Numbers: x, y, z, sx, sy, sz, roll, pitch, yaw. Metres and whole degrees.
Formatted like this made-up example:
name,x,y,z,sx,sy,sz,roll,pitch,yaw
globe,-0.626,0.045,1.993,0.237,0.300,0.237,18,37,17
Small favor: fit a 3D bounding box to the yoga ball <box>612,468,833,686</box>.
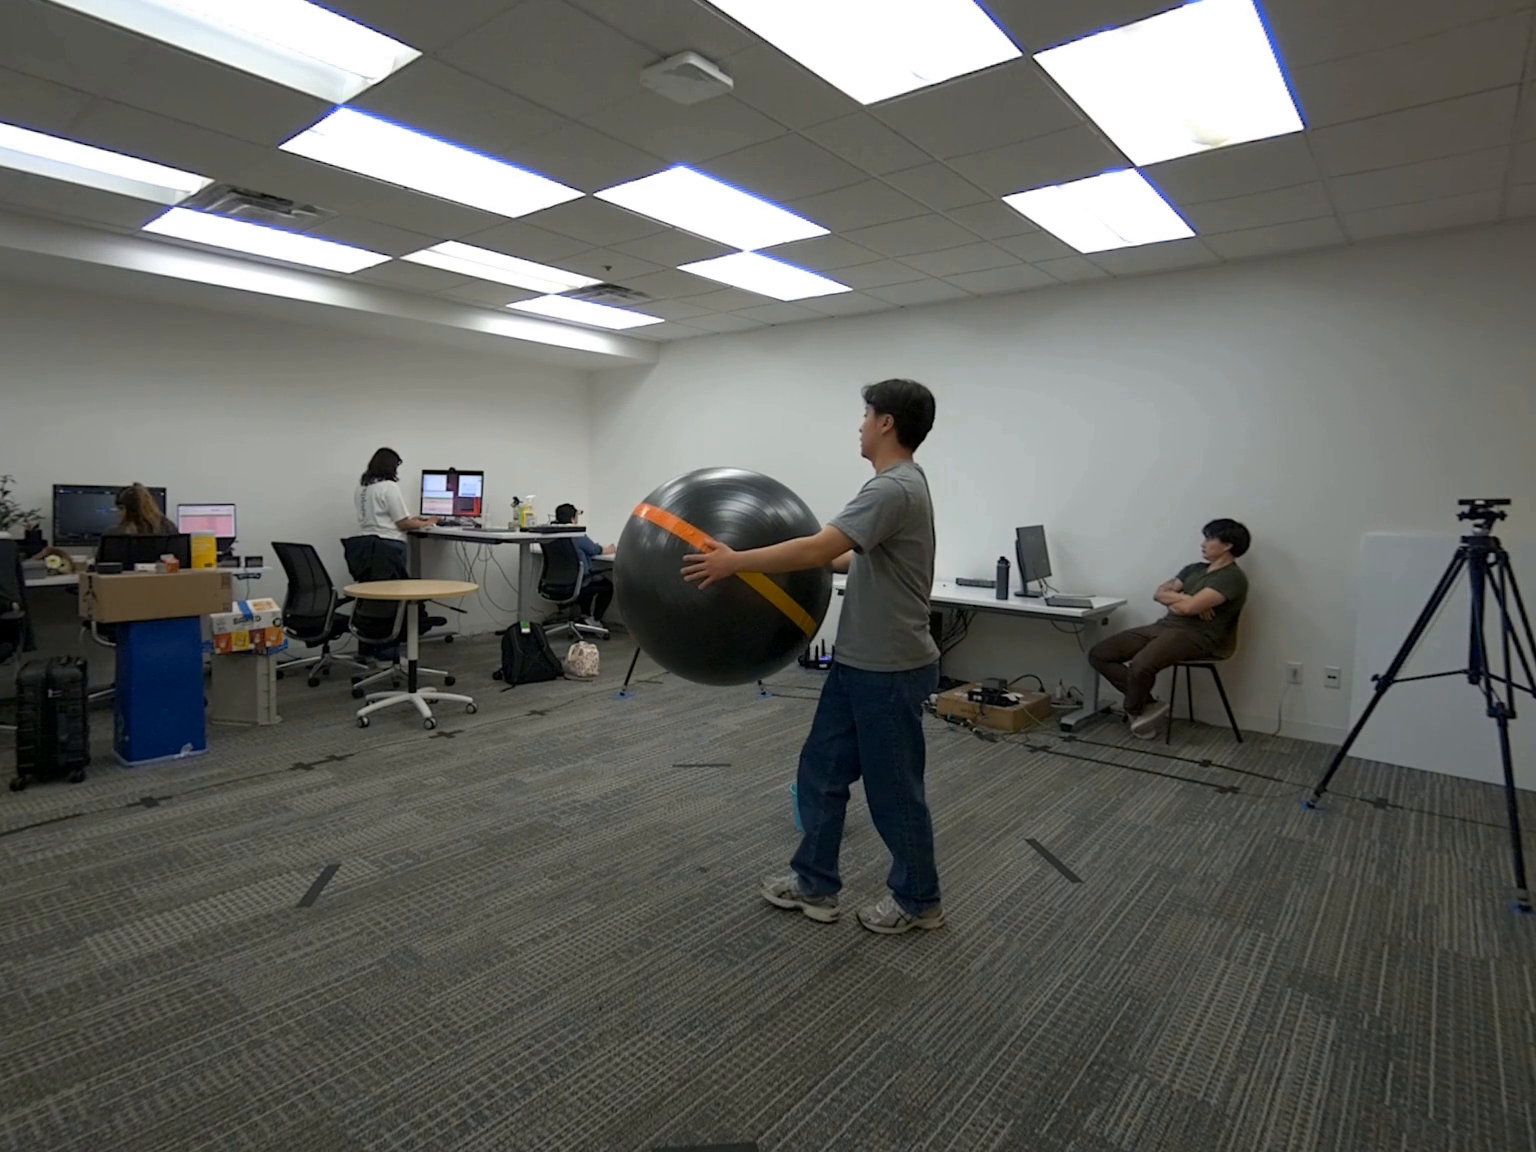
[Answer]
name,x,y,z,sx,sy,sz,roll,pitch,yaw
yoga ball,-0.171,0.007,2.953,0.757,0.755,0.762,1,4,-2
